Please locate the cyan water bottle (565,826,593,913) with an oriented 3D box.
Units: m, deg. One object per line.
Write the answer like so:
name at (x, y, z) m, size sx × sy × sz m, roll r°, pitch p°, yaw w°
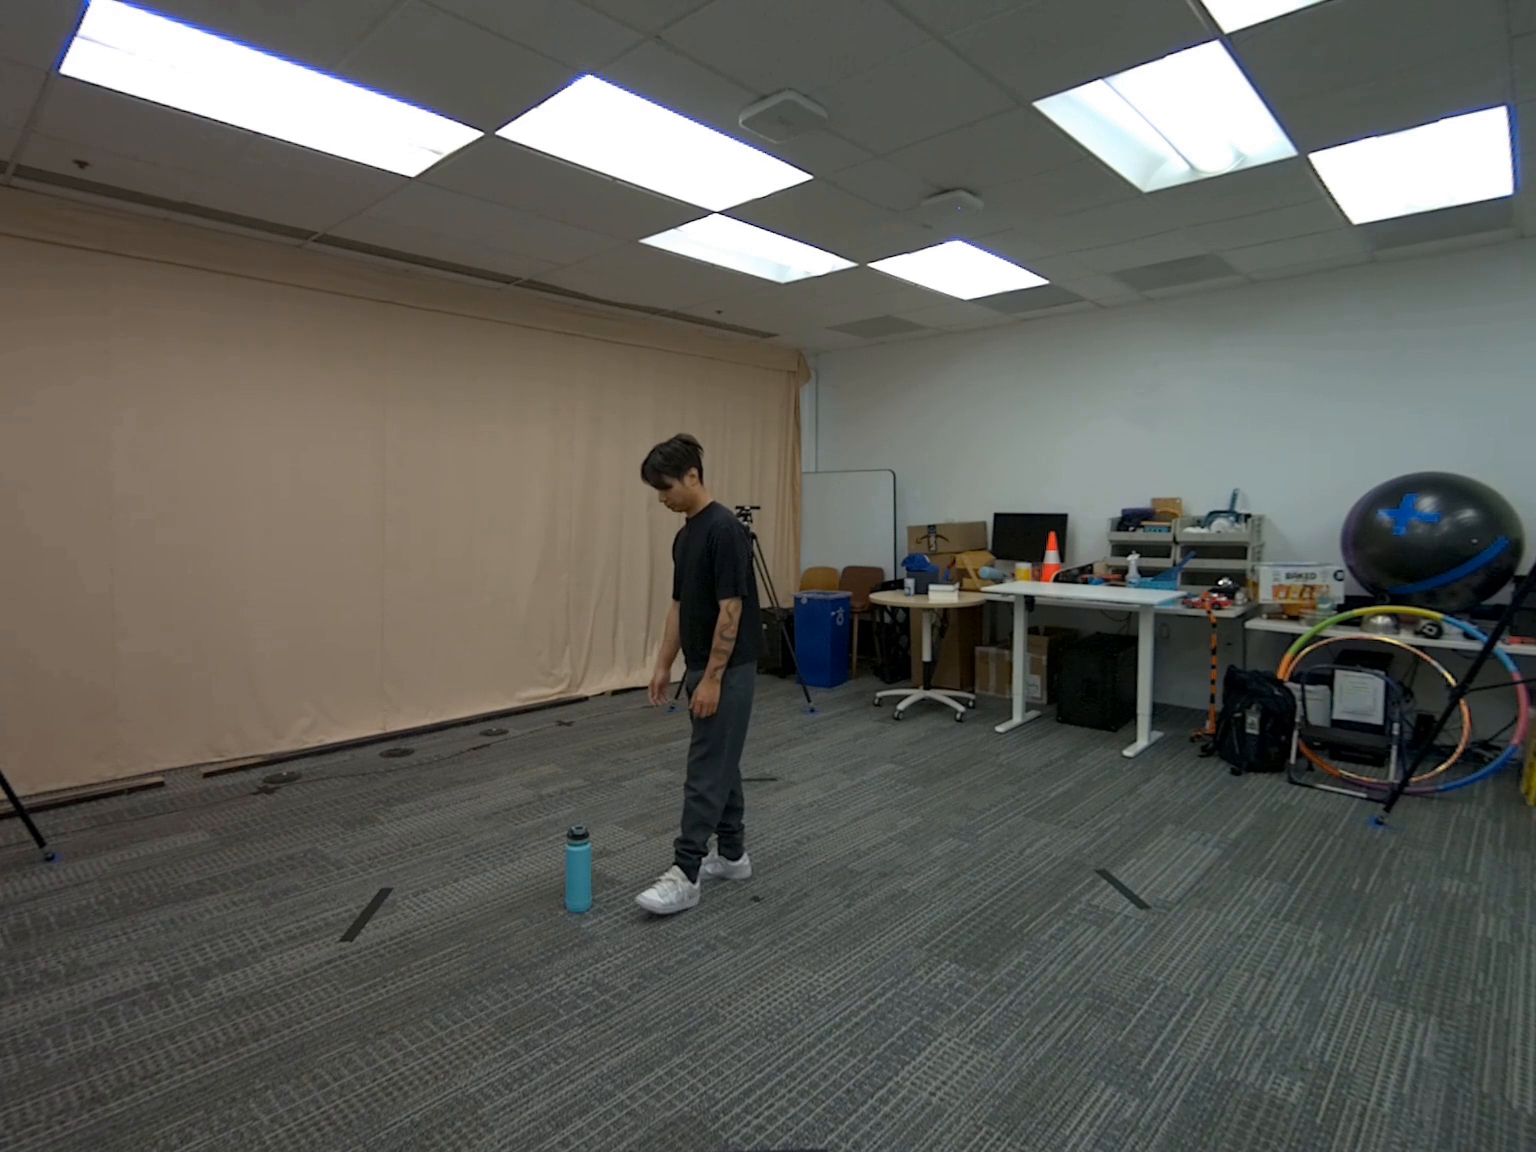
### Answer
cyan water bottle at (-0.664, 1.016, 2.932) m, size 0.092 × 0.283 × 0.092 m, roll -1°, pitch 1°, yaw -2°
